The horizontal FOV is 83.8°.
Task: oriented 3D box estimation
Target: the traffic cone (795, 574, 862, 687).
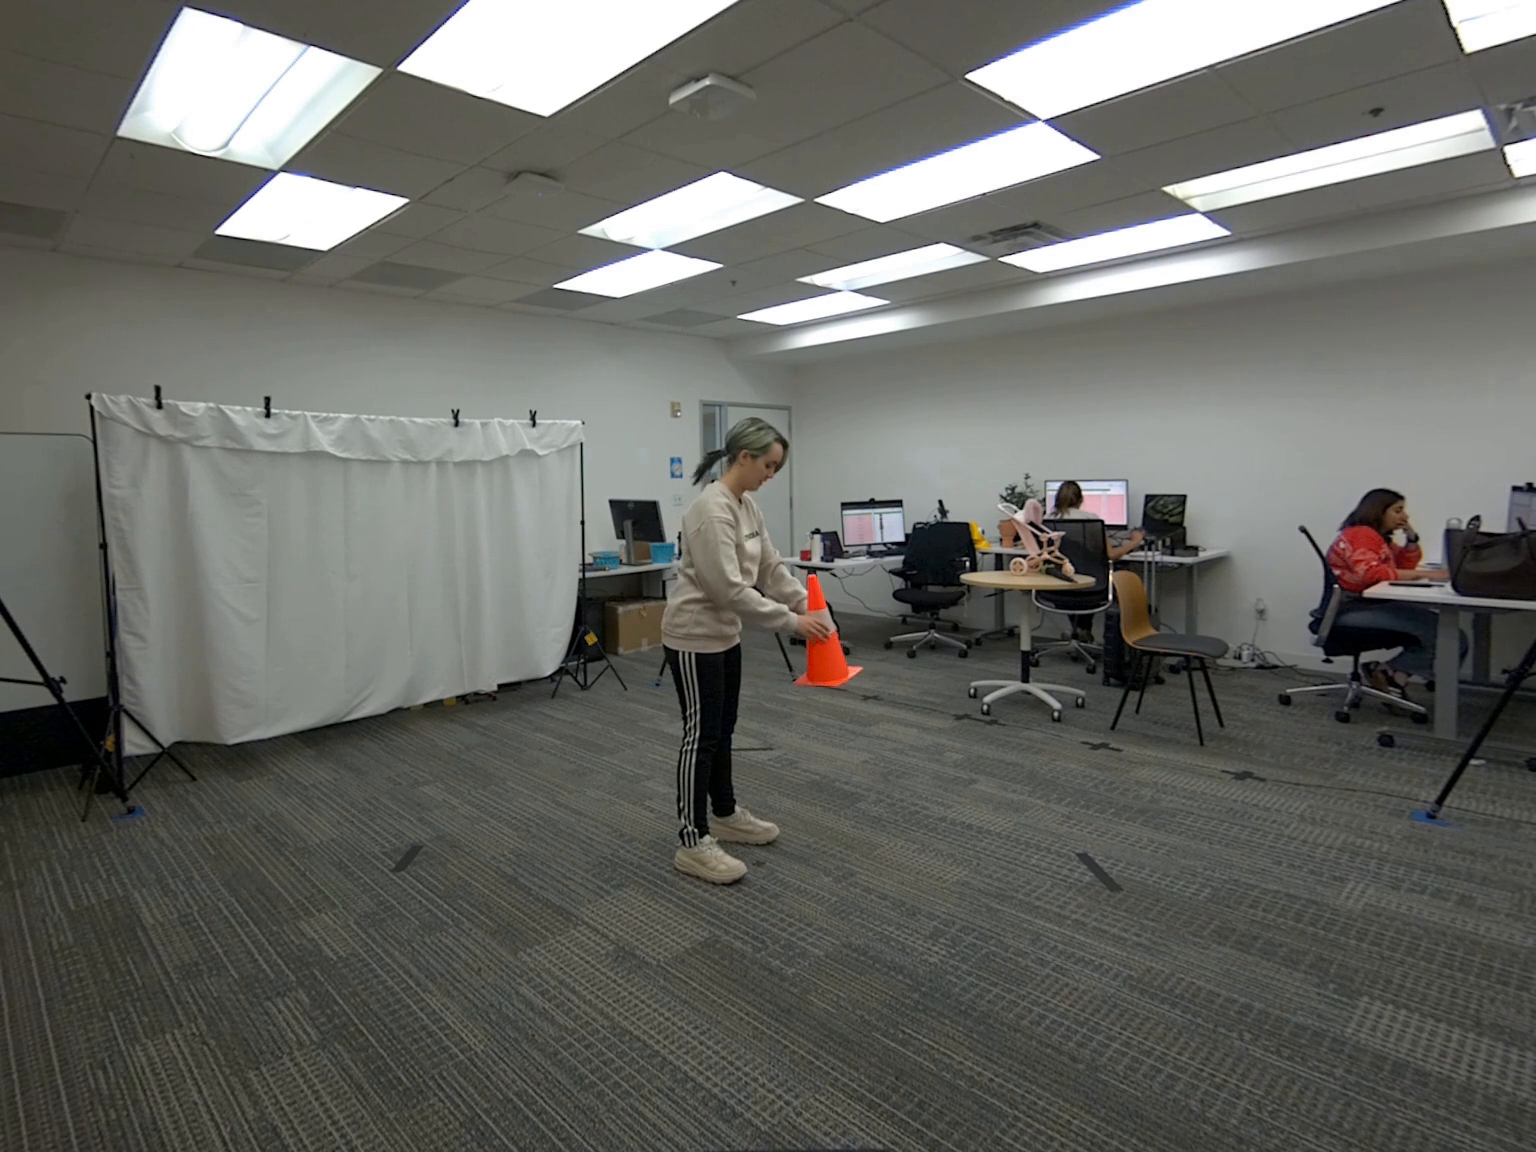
[{"bbox_3d":[0.181,0.191,3.096,0.209,0.381,0.201,-3,8,40],"label":"traffic cone"}]
